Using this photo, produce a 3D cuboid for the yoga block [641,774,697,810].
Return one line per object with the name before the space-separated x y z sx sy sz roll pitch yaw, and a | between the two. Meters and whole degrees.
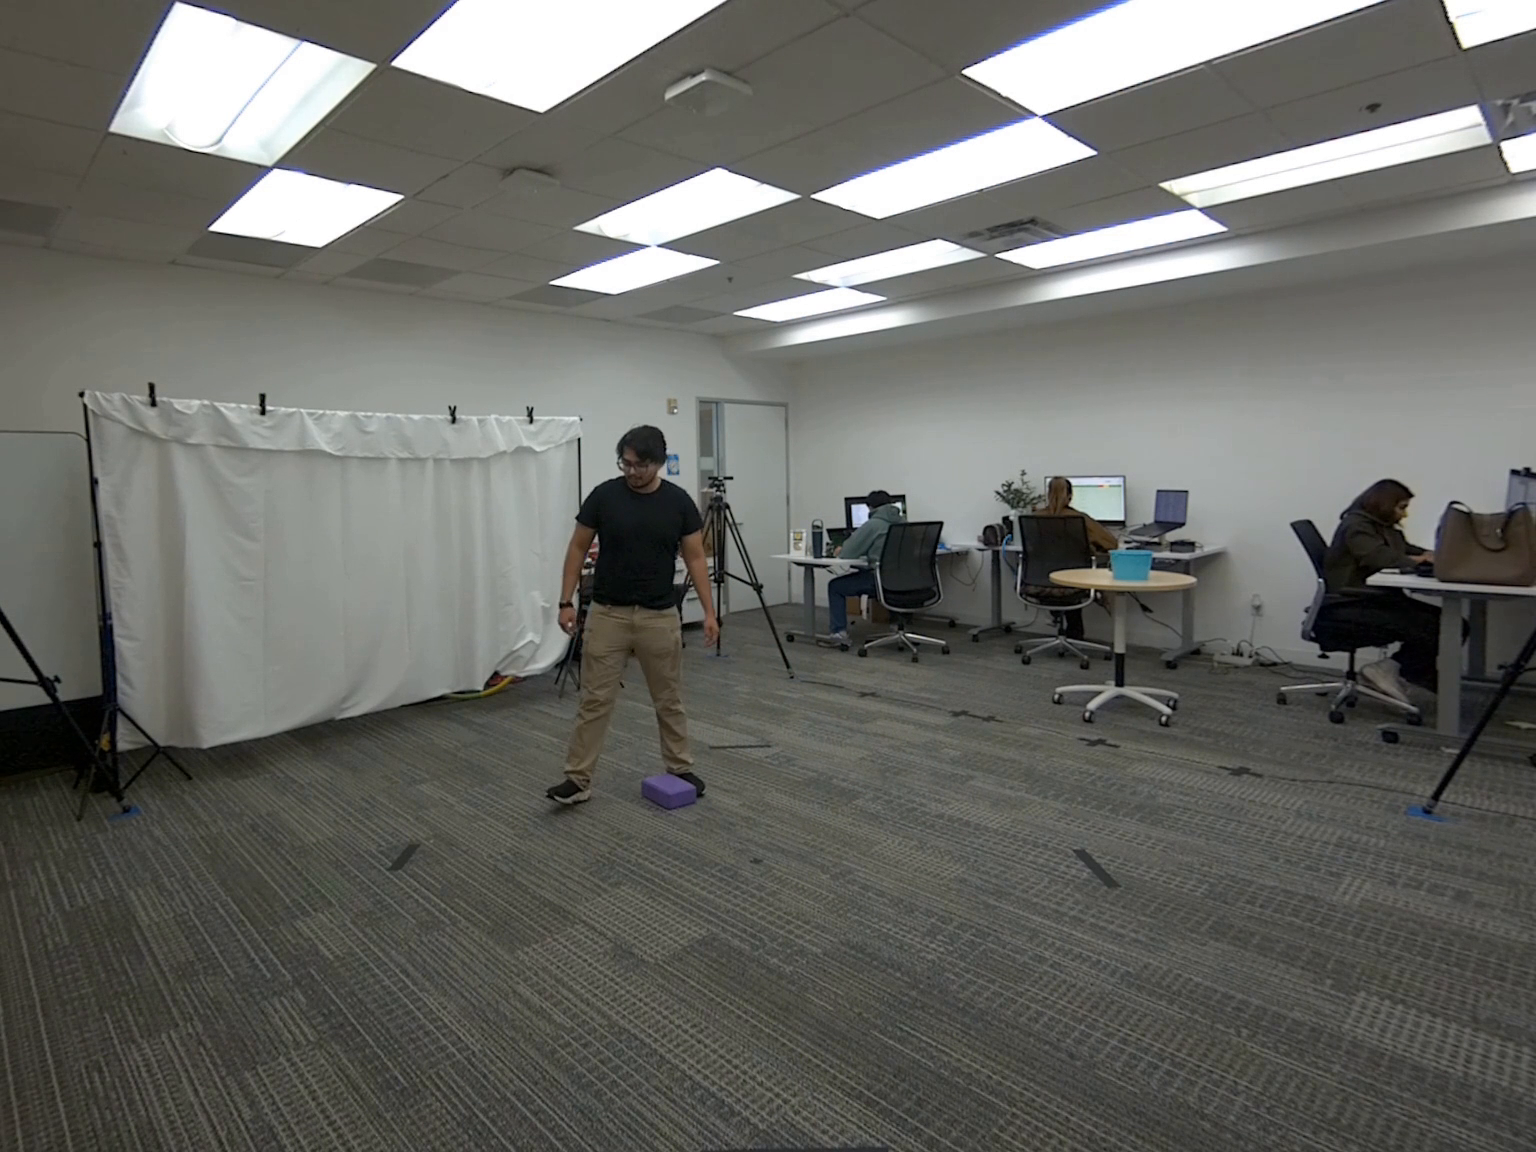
yoga block | -0.435 0.936 3.725 0.145 0.076 0.236 -5 8 -39
